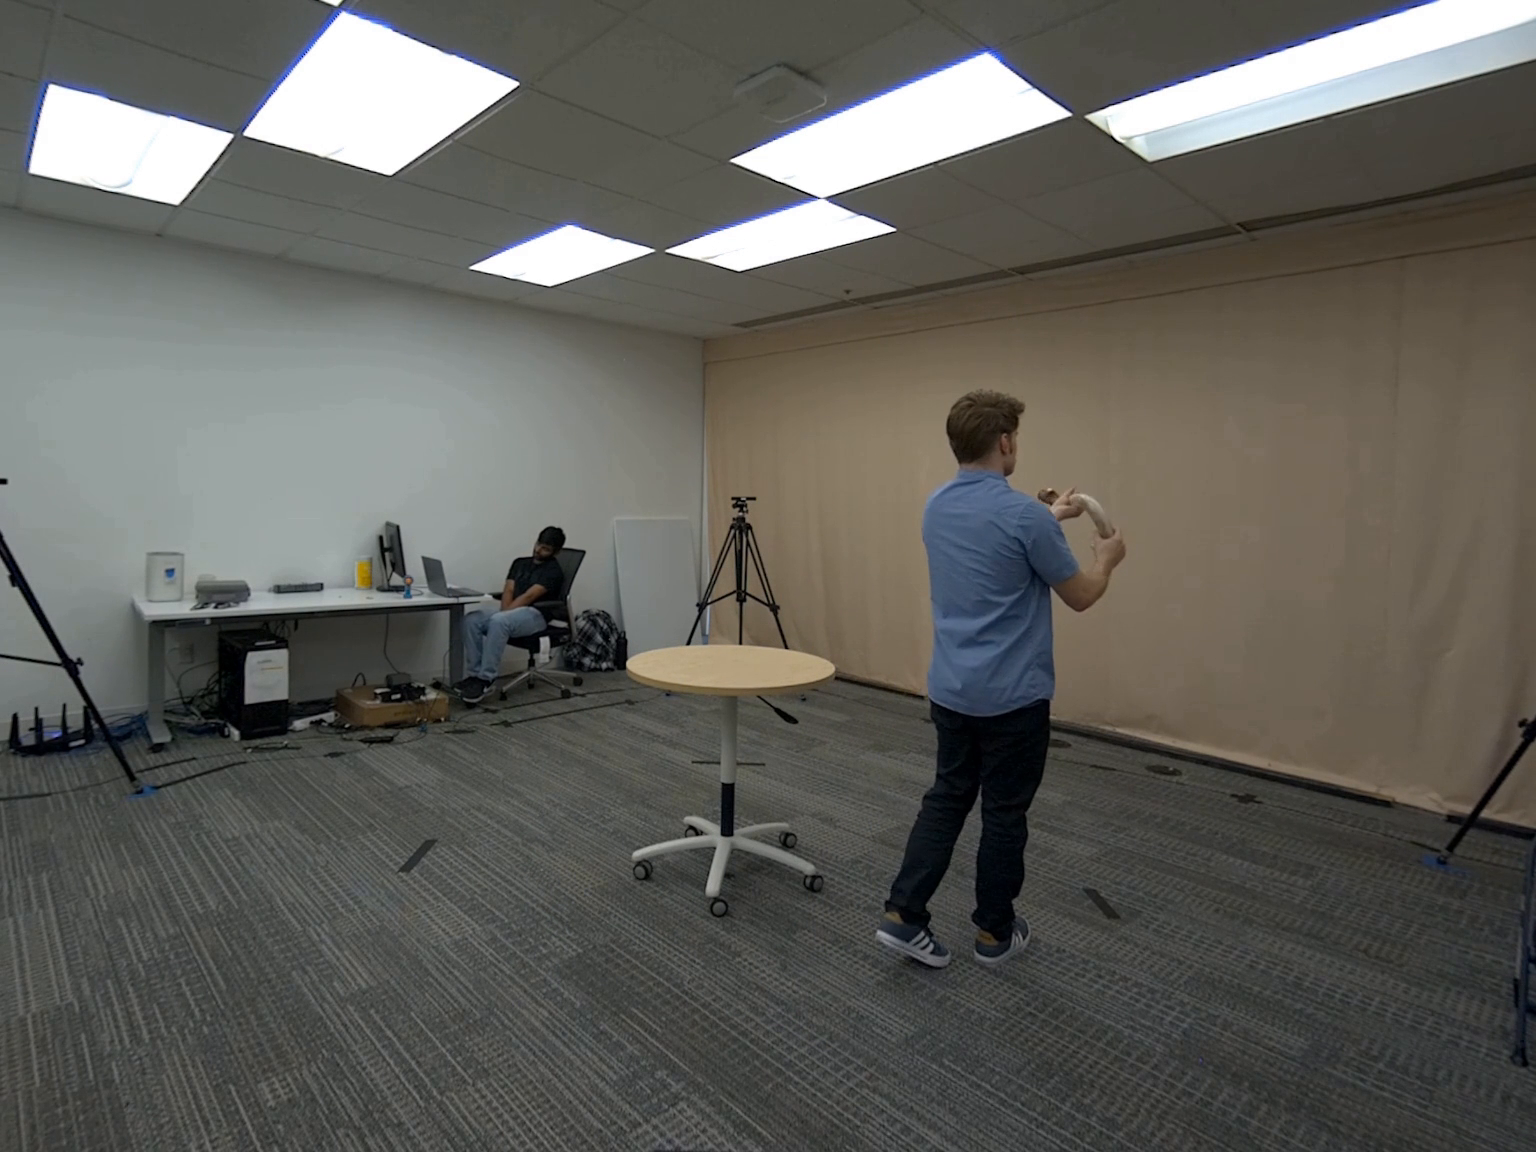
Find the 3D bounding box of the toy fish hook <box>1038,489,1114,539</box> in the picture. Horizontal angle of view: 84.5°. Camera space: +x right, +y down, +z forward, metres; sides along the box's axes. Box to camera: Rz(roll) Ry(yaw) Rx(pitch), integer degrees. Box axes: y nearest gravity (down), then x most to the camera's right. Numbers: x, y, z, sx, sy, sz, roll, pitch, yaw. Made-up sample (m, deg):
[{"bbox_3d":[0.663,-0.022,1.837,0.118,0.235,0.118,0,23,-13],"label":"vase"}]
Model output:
[{"bbox_3d":[1.030,-0.191,2.841,0.048,0.222,0.512,-20,13,1],"label":"toy fish hook"}]
